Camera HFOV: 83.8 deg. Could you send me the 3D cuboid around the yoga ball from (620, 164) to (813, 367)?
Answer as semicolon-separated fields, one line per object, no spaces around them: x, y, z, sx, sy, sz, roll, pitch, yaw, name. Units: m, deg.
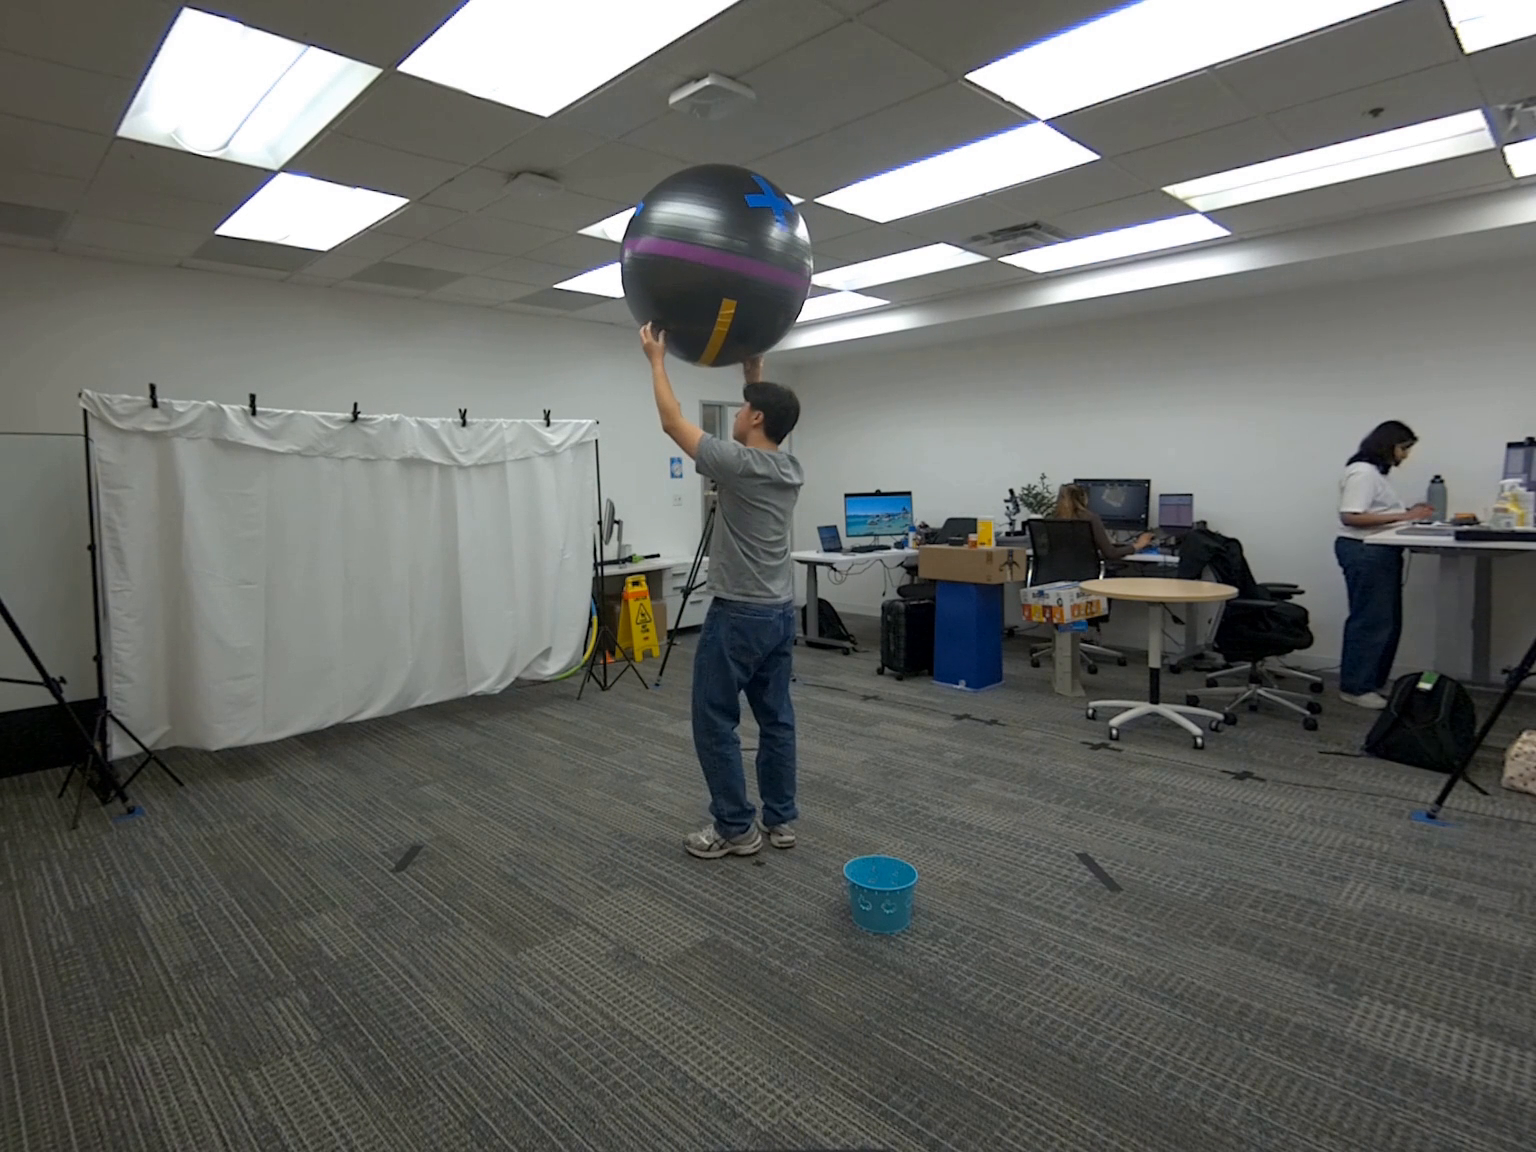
-0.206;-1.201;3.357;0.757;0.755;0.762;-1;5;-2;yoga ball
